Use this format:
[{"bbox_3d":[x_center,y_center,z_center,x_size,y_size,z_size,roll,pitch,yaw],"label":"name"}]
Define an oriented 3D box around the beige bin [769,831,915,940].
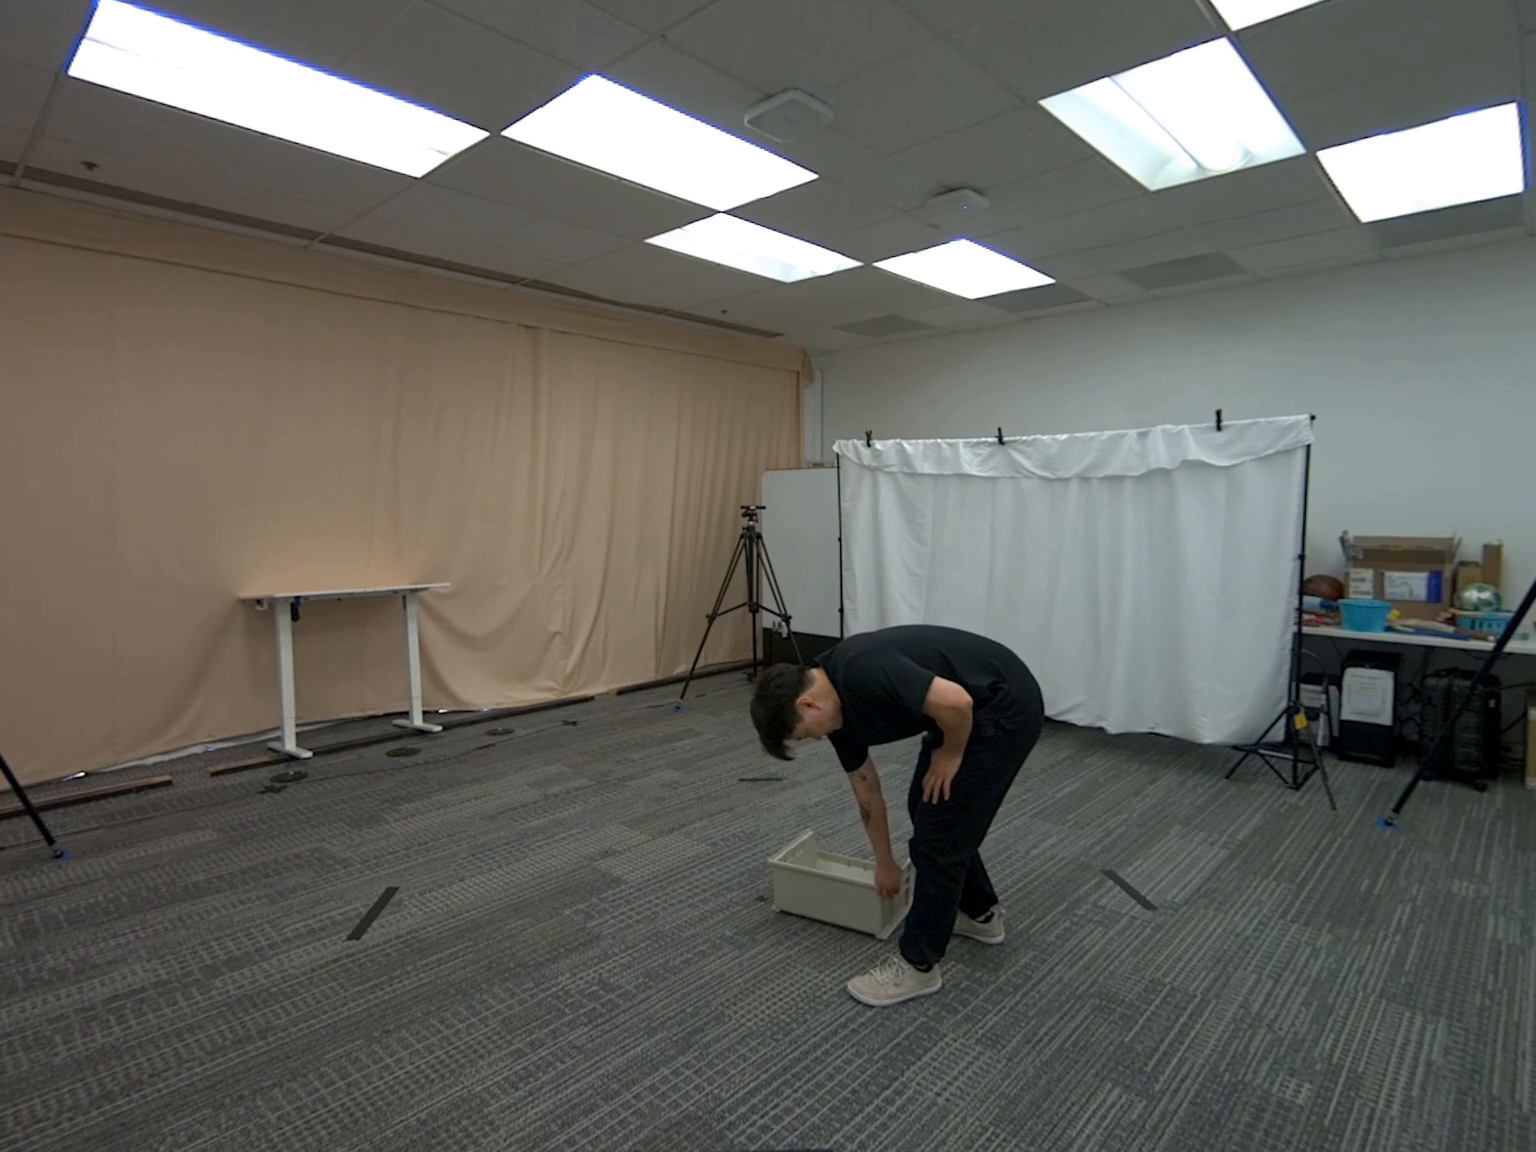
[{"bbox_3d":[0.274,1.057,2.933,0.435,0.188,0.367,3,5,30],"label":"beige bin"}]
